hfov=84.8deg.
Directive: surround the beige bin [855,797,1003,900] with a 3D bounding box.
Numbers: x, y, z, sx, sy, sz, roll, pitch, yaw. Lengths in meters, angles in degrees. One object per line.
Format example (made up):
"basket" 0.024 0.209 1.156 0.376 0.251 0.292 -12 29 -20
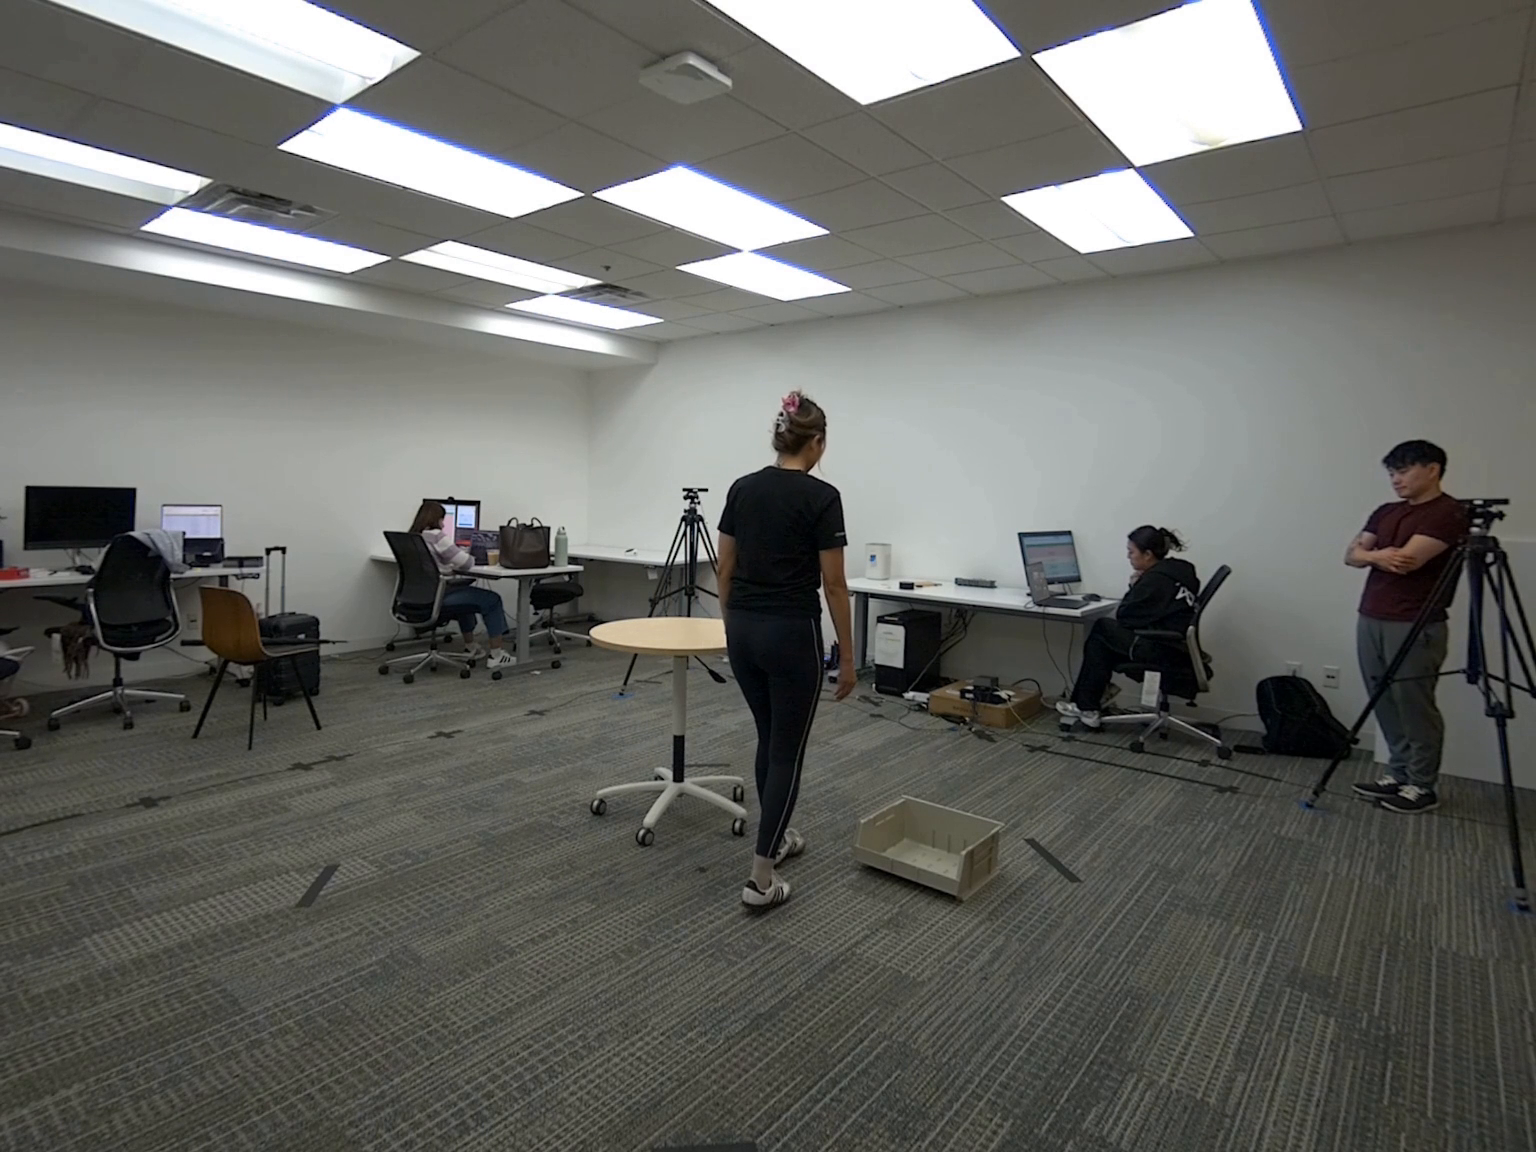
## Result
"beige bin" 0.596 1.001 3.146 0.436 0.188 0.366 4 5 38
